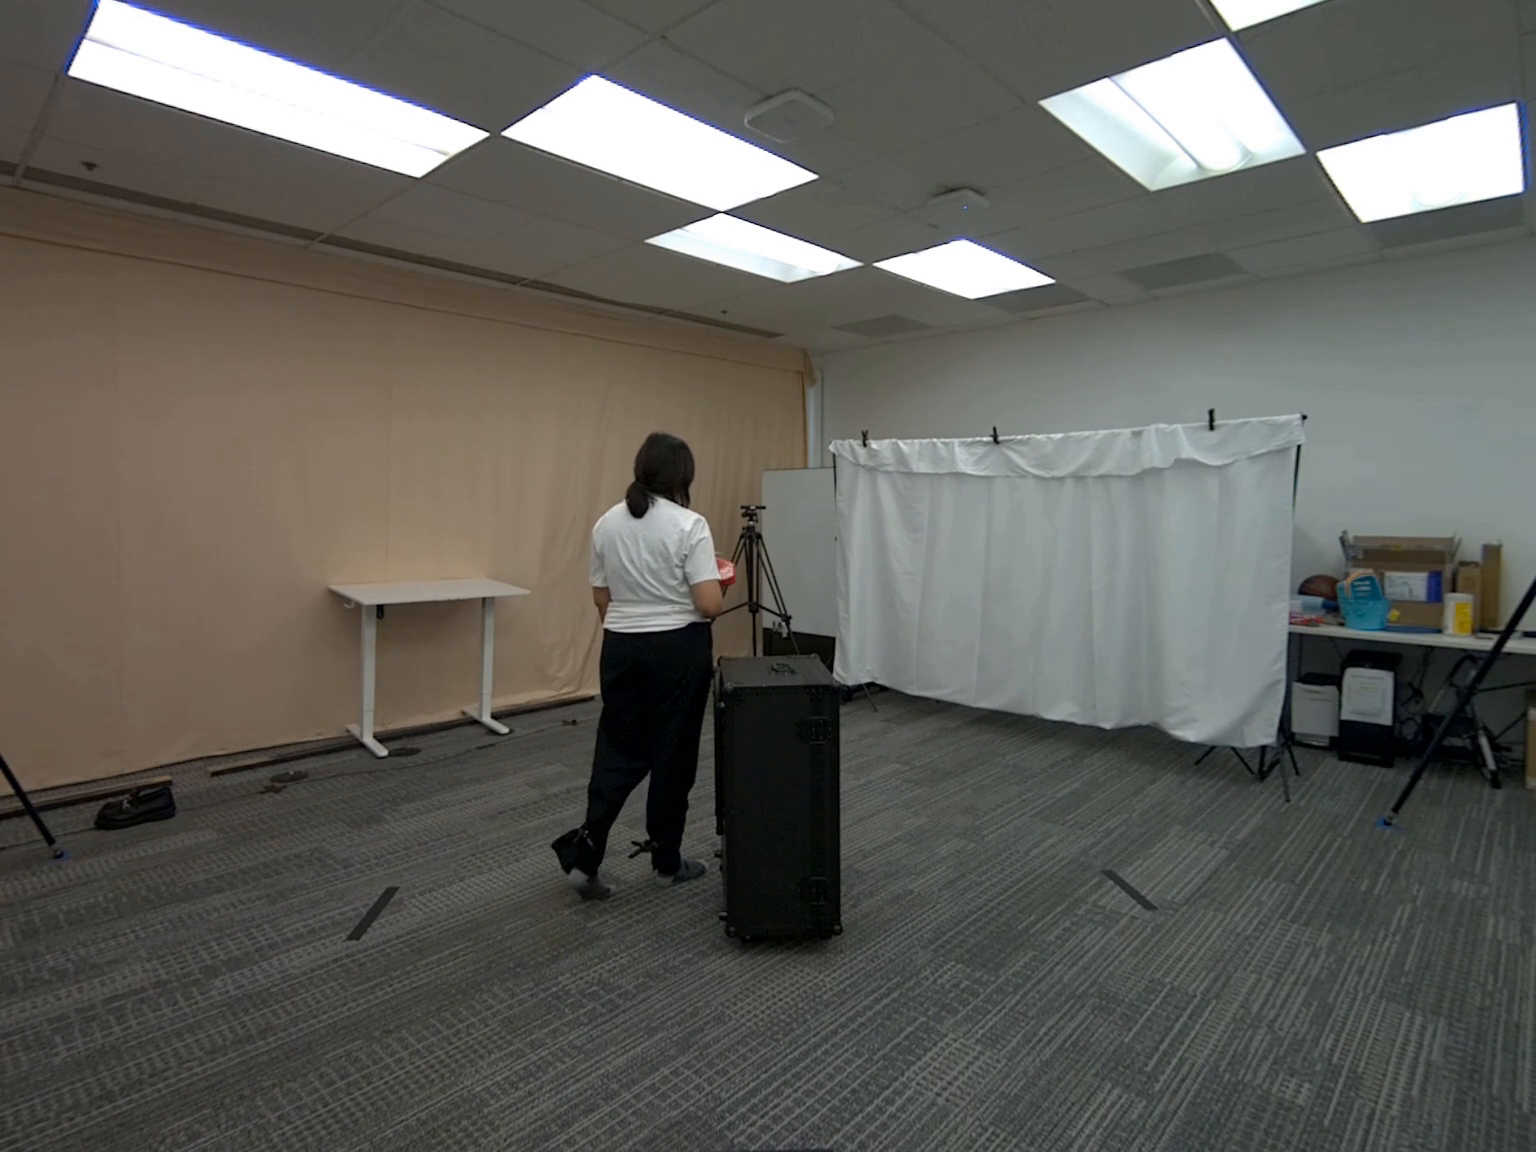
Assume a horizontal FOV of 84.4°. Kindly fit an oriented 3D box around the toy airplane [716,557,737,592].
[{"bbox_3d":[-0.239,0.029,3.286,0.248,0.266,0.154,-25,-29,-16],"label":"toy airplane"}]
